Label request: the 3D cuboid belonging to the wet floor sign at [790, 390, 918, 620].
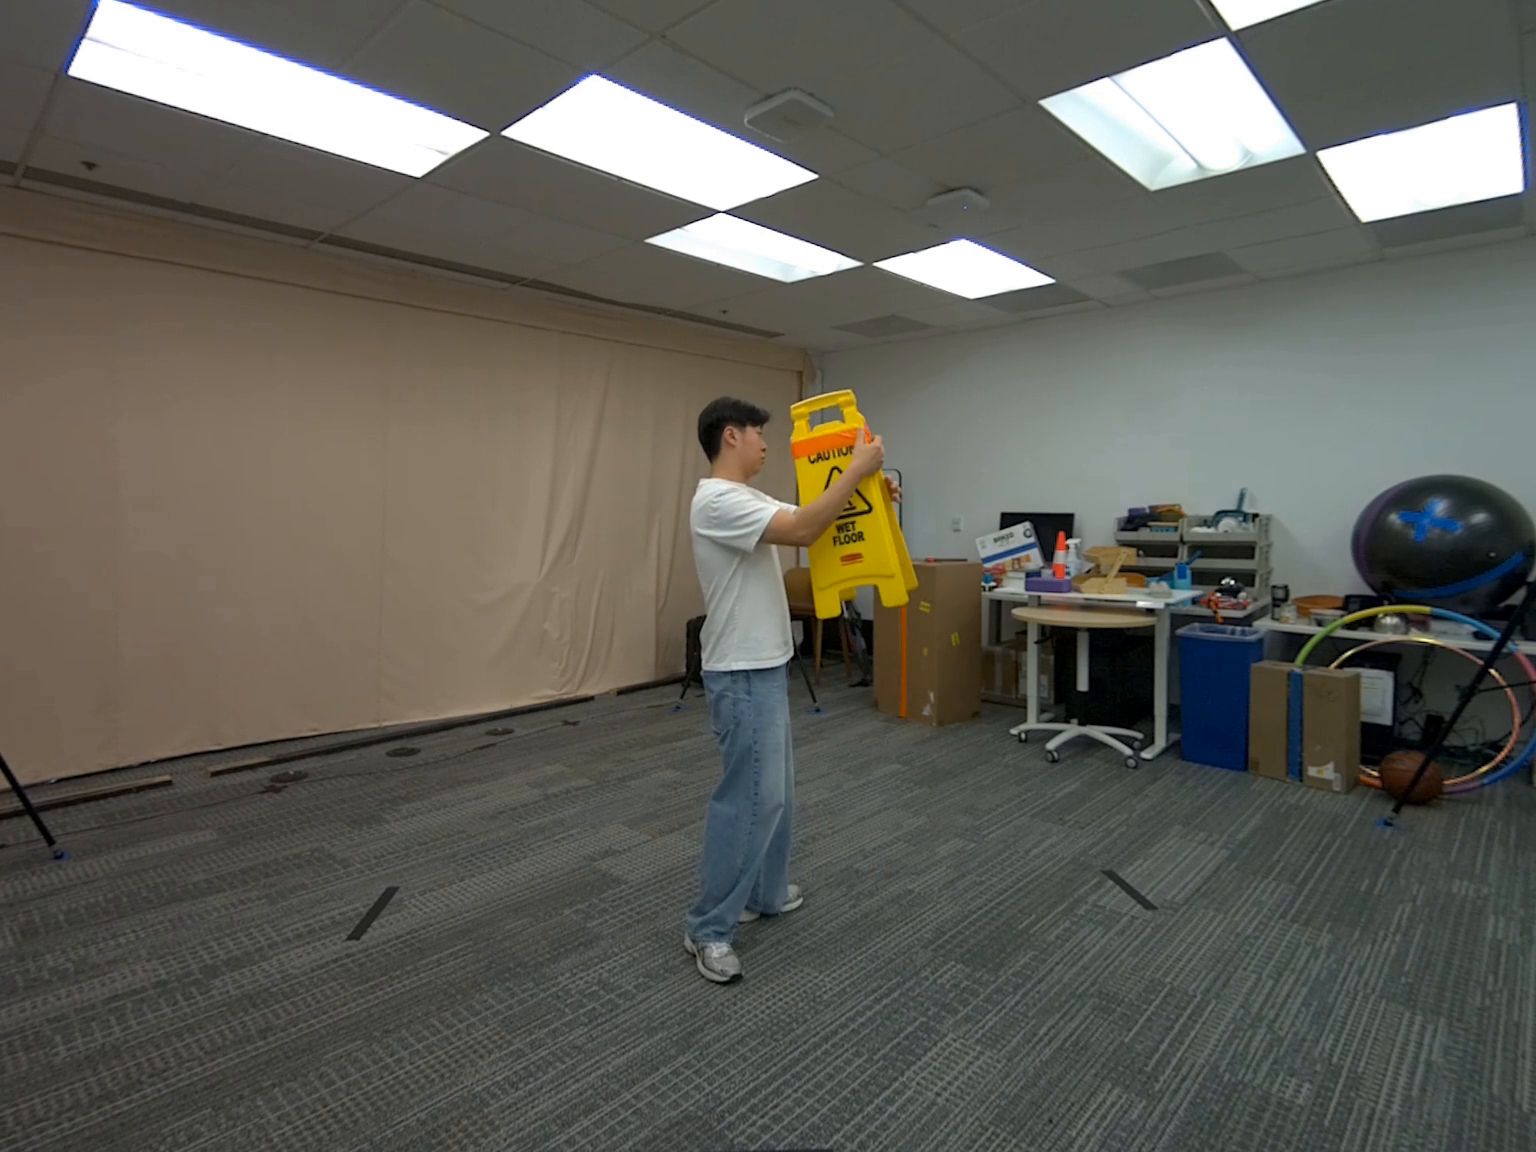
[{"bbox_3d":[0.243,-0.231,2.568,0.287,0.643,0.286,-14,6,19],"label":"wet floor sign"}]
